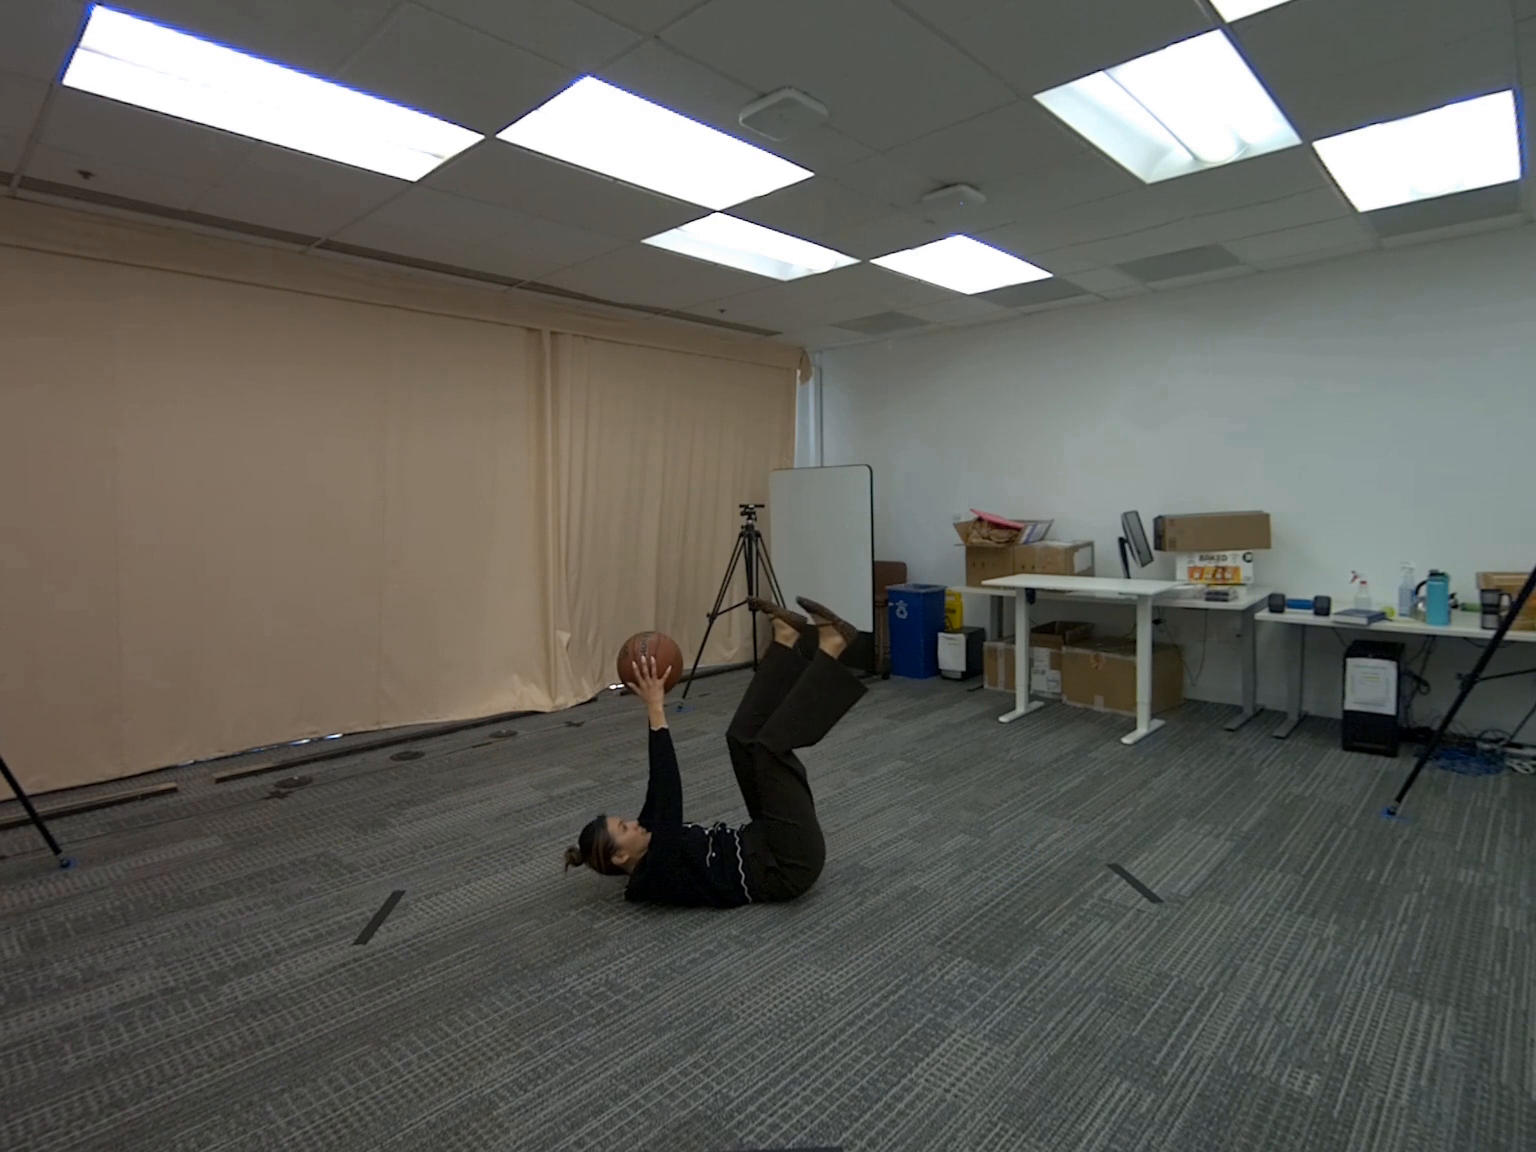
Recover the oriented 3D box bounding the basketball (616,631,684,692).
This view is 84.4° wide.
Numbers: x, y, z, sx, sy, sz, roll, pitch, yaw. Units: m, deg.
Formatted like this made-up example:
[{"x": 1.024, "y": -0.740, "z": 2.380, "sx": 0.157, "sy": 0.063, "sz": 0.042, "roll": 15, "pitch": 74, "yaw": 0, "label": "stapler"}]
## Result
[{"x": -0.404, "y": 0.316, "z": 2.981, "sx": 0.236, "sy": 0.235, "sz": 0.237, "roll": -1, "pitch": 4, "yaw": -2, "label": "basketball"}]
